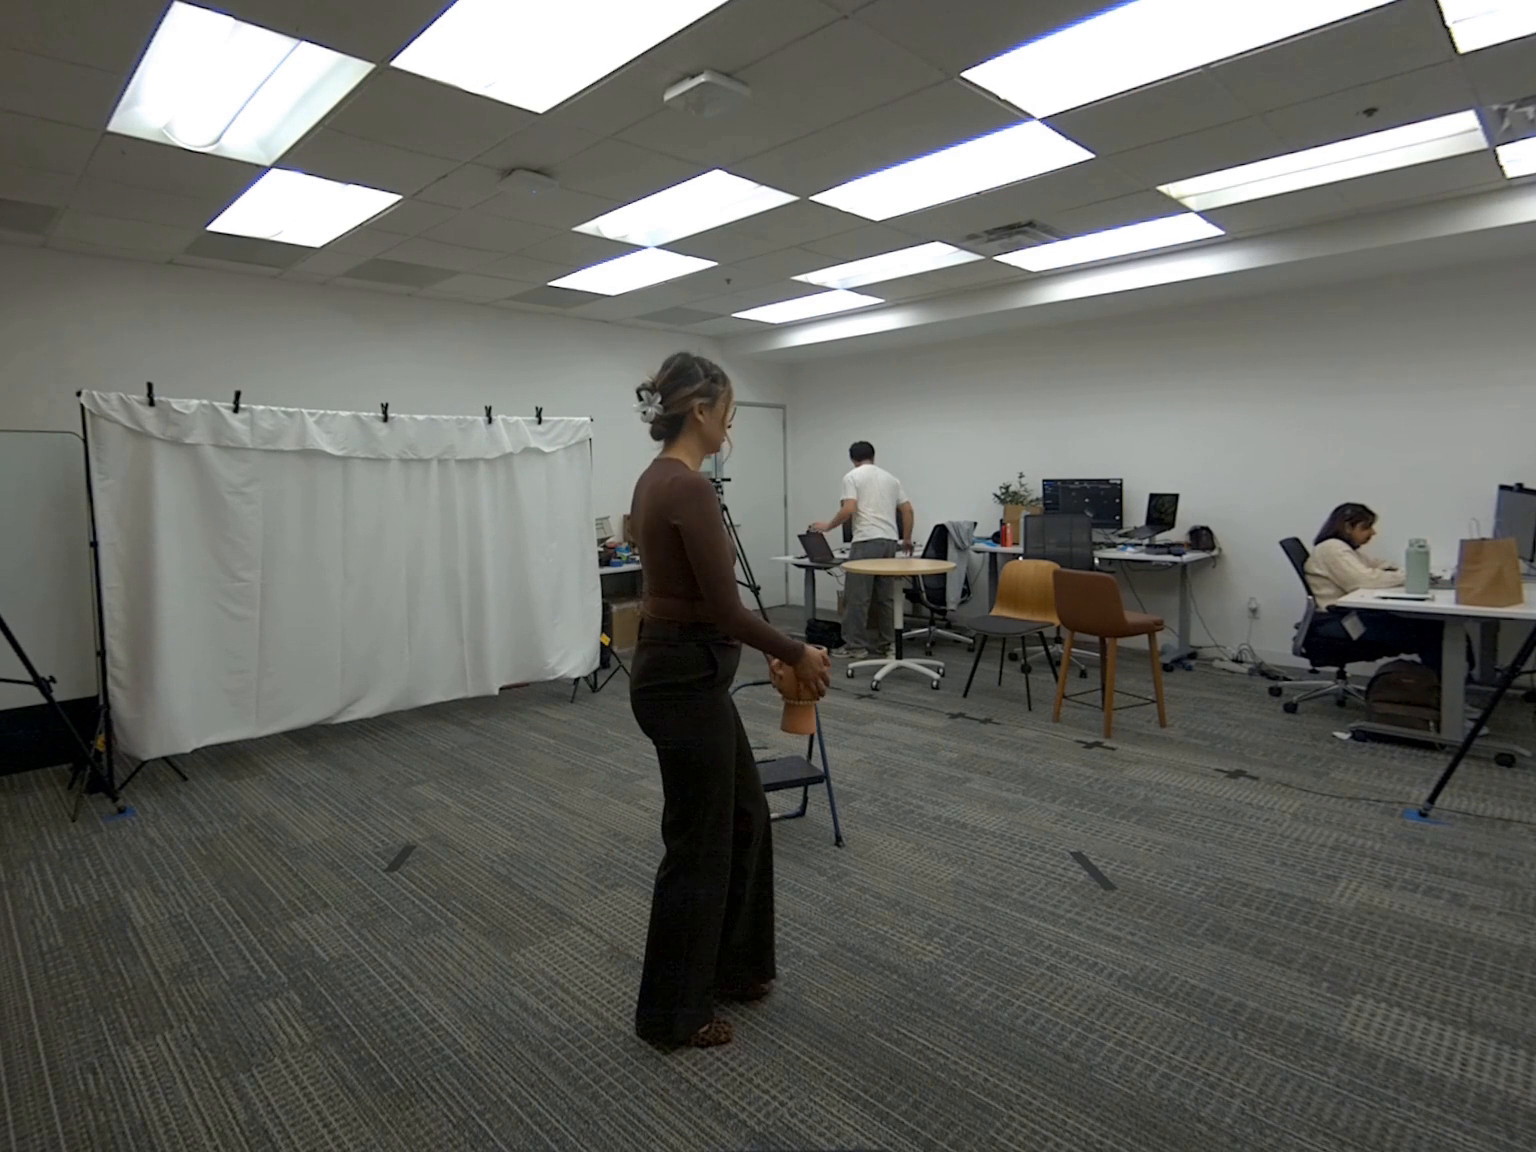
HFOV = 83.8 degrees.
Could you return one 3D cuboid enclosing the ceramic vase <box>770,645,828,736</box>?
[{"bbox_3d":[0.086,0.296,2.259,0.159,0.219,0.135,3,4,1],"label":"ceramic vase"}]
